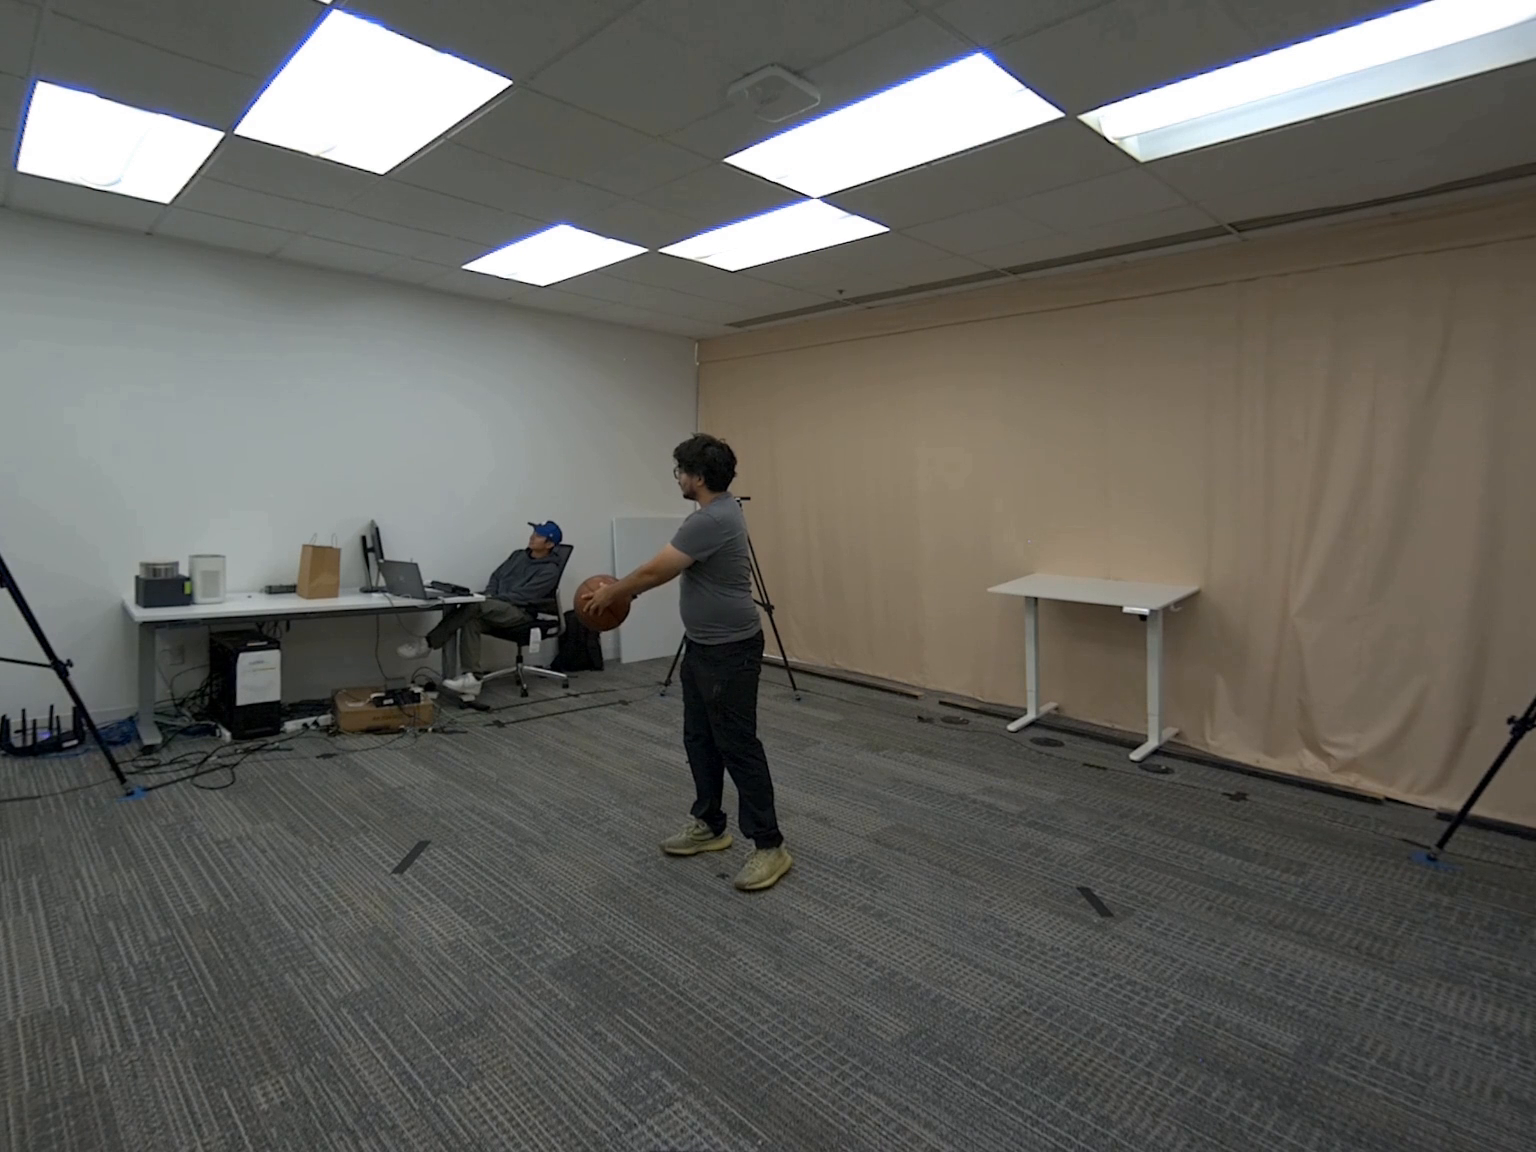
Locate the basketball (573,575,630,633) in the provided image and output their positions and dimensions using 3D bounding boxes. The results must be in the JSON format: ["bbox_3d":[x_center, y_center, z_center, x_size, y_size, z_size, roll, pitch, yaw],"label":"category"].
[{"bbox_3d":[-0.698,0.116,3.527,0.236,0.235,0.237,1,4,-1],"label":"basketball"}]
